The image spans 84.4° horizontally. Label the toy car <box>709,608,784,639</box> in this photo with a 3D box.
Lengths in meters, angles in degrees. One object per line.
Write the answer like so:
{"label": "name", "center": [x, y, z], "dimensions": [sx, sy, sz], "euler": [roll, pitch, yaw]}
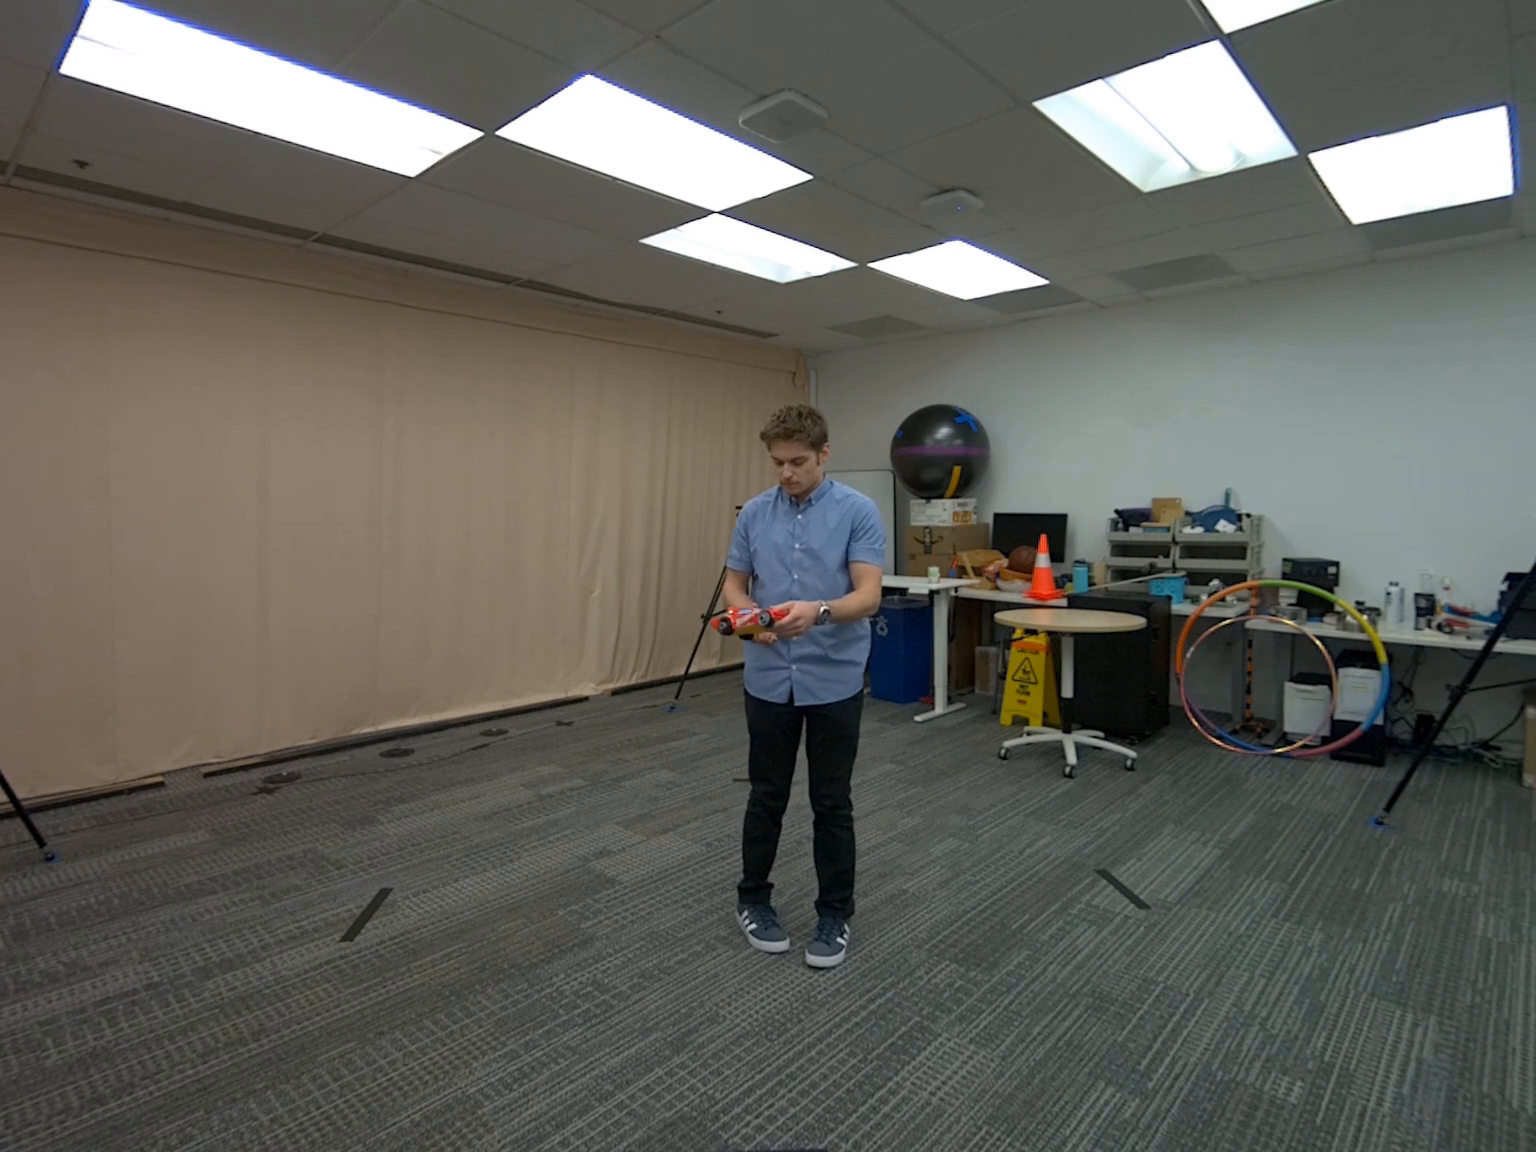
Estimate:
{"label": "toy car", "center": [-0.048, 0.135, 2.365], "dimensions": [0.263, 0.083, 0.125], "euler": [-1, -12, 43]}
